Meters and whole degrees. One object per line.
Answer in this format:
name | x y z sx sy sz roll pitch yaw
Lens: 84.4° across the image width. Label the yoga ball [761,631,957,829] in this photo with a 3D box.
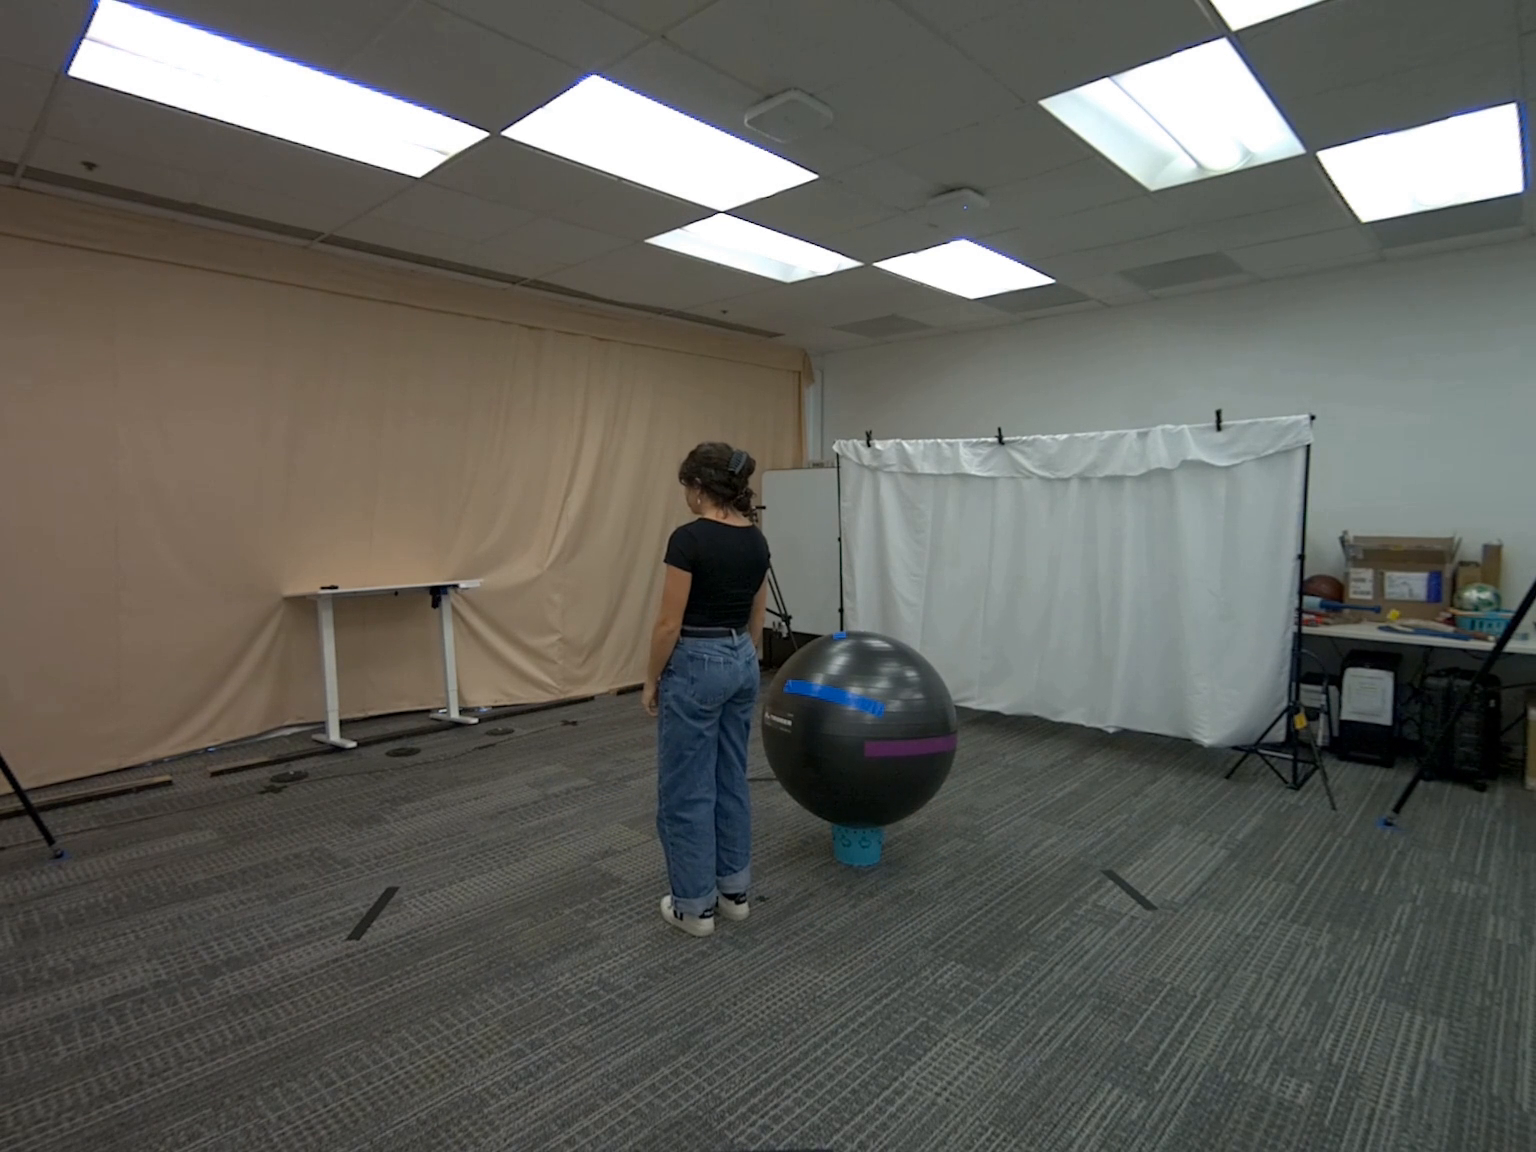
yoga ball | 0.361 0.601 3.336 0.757 0.756 0.761 0 4 -2
